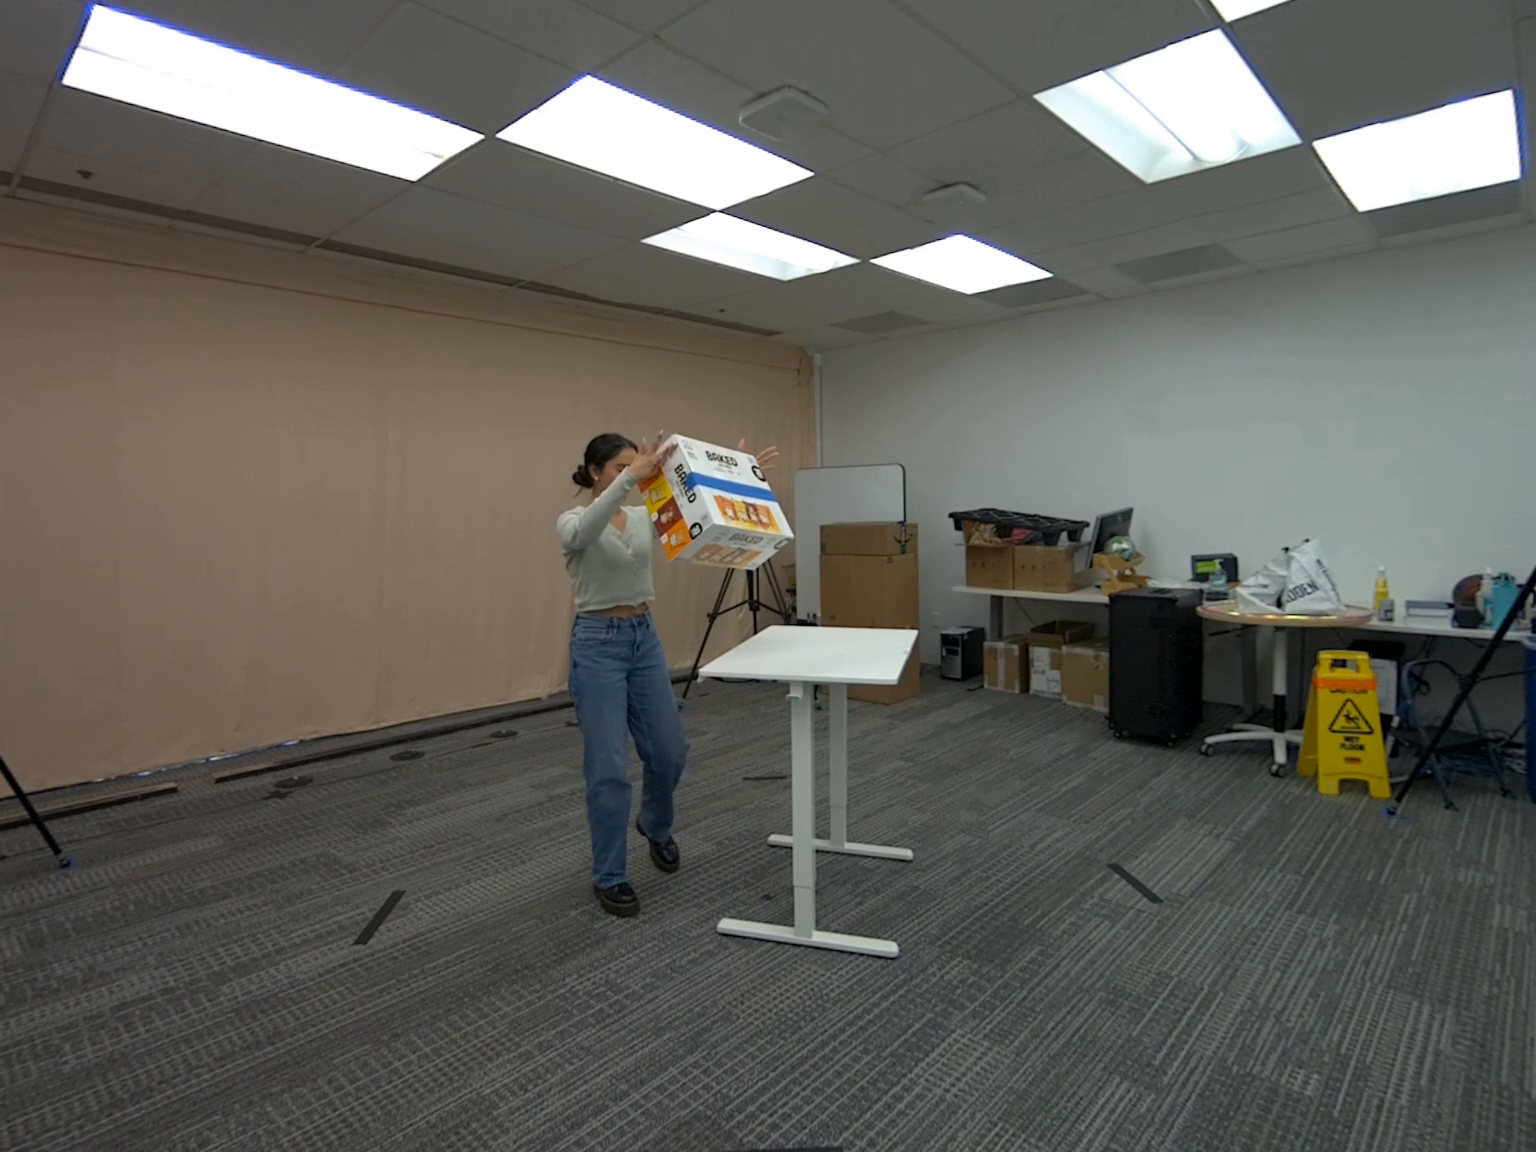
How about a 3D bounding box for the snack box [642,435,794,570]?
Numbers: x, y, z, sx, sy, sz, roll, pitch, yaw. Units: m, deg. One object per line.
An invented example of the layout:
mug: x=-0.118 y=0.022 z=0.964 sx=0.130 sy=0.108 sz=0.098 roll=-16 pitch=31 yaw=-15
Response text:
snack box: x=-0.168 y=-0.224 z=2.696 sx=0.208 sy=0.348 sz=0.391 roll=-39 pitch=-28 yaw=30
